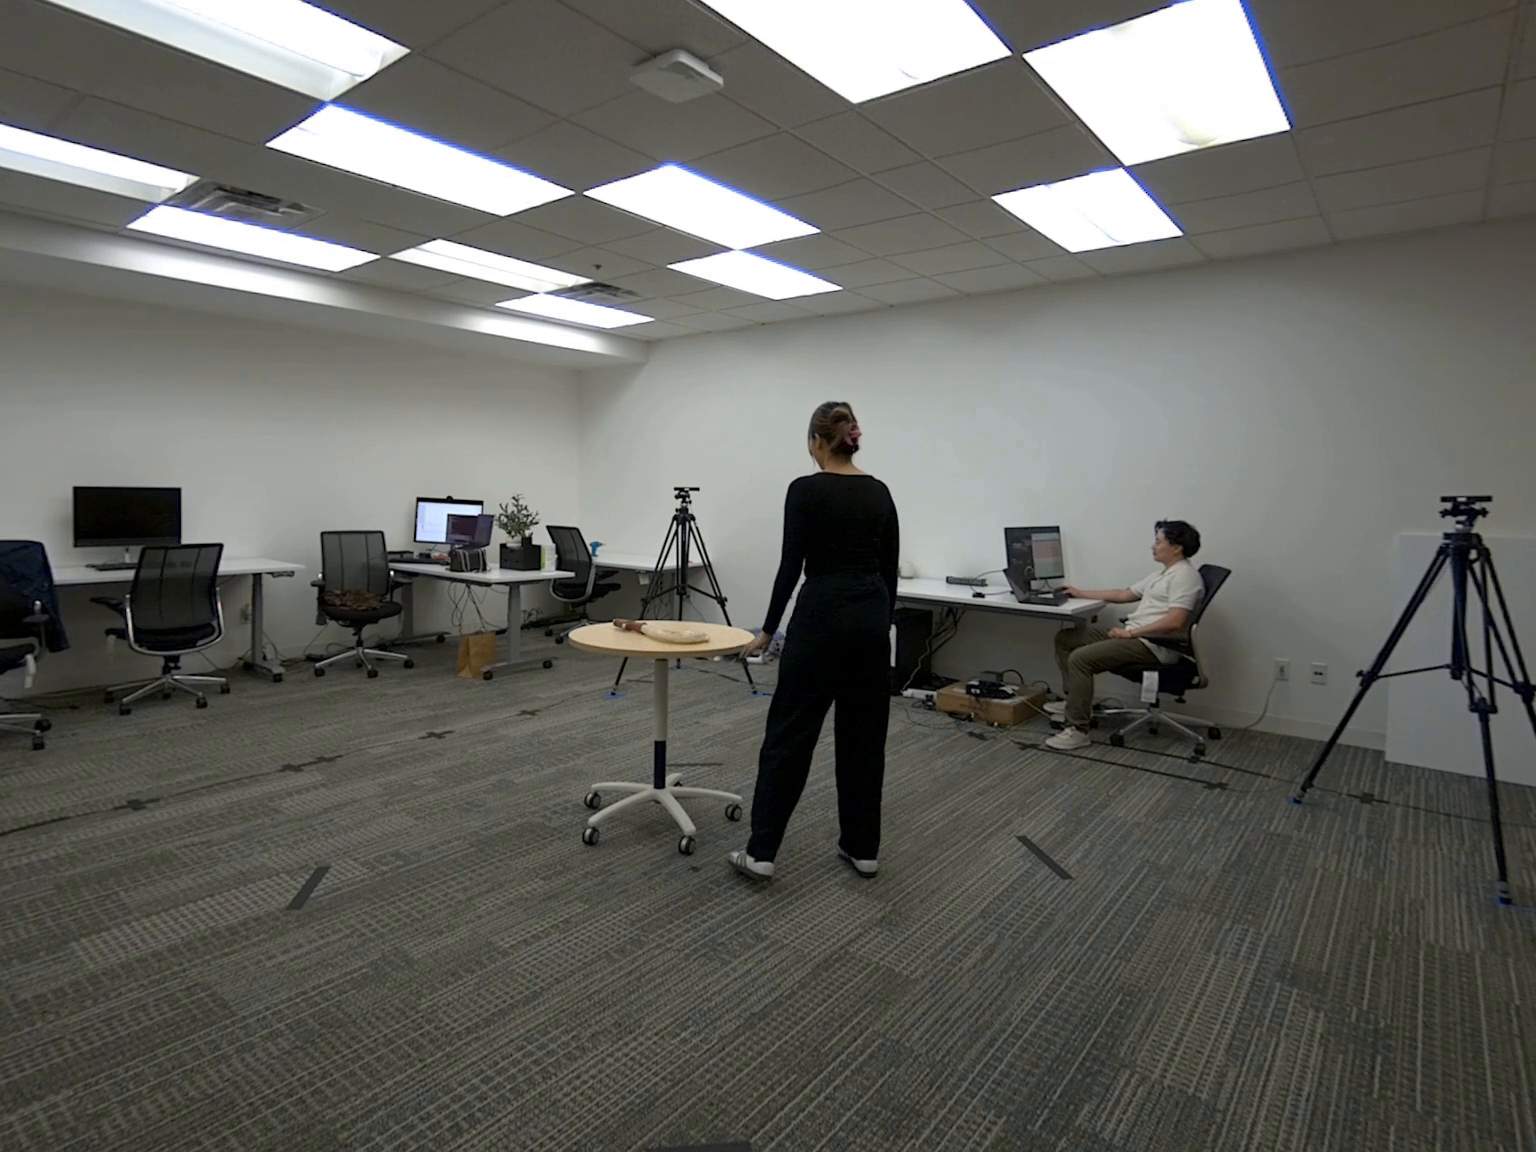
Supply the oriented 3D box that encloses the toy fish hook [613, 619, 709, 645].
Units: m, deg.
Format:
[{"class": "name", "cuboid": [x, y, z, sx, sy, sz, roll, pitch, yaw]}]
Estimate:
[{"class": "toy fish hook", "cuboid": [-0.452, 0.226, 3.518, 0.217, 0.048, 0.524, 5, 2, -45]}]
